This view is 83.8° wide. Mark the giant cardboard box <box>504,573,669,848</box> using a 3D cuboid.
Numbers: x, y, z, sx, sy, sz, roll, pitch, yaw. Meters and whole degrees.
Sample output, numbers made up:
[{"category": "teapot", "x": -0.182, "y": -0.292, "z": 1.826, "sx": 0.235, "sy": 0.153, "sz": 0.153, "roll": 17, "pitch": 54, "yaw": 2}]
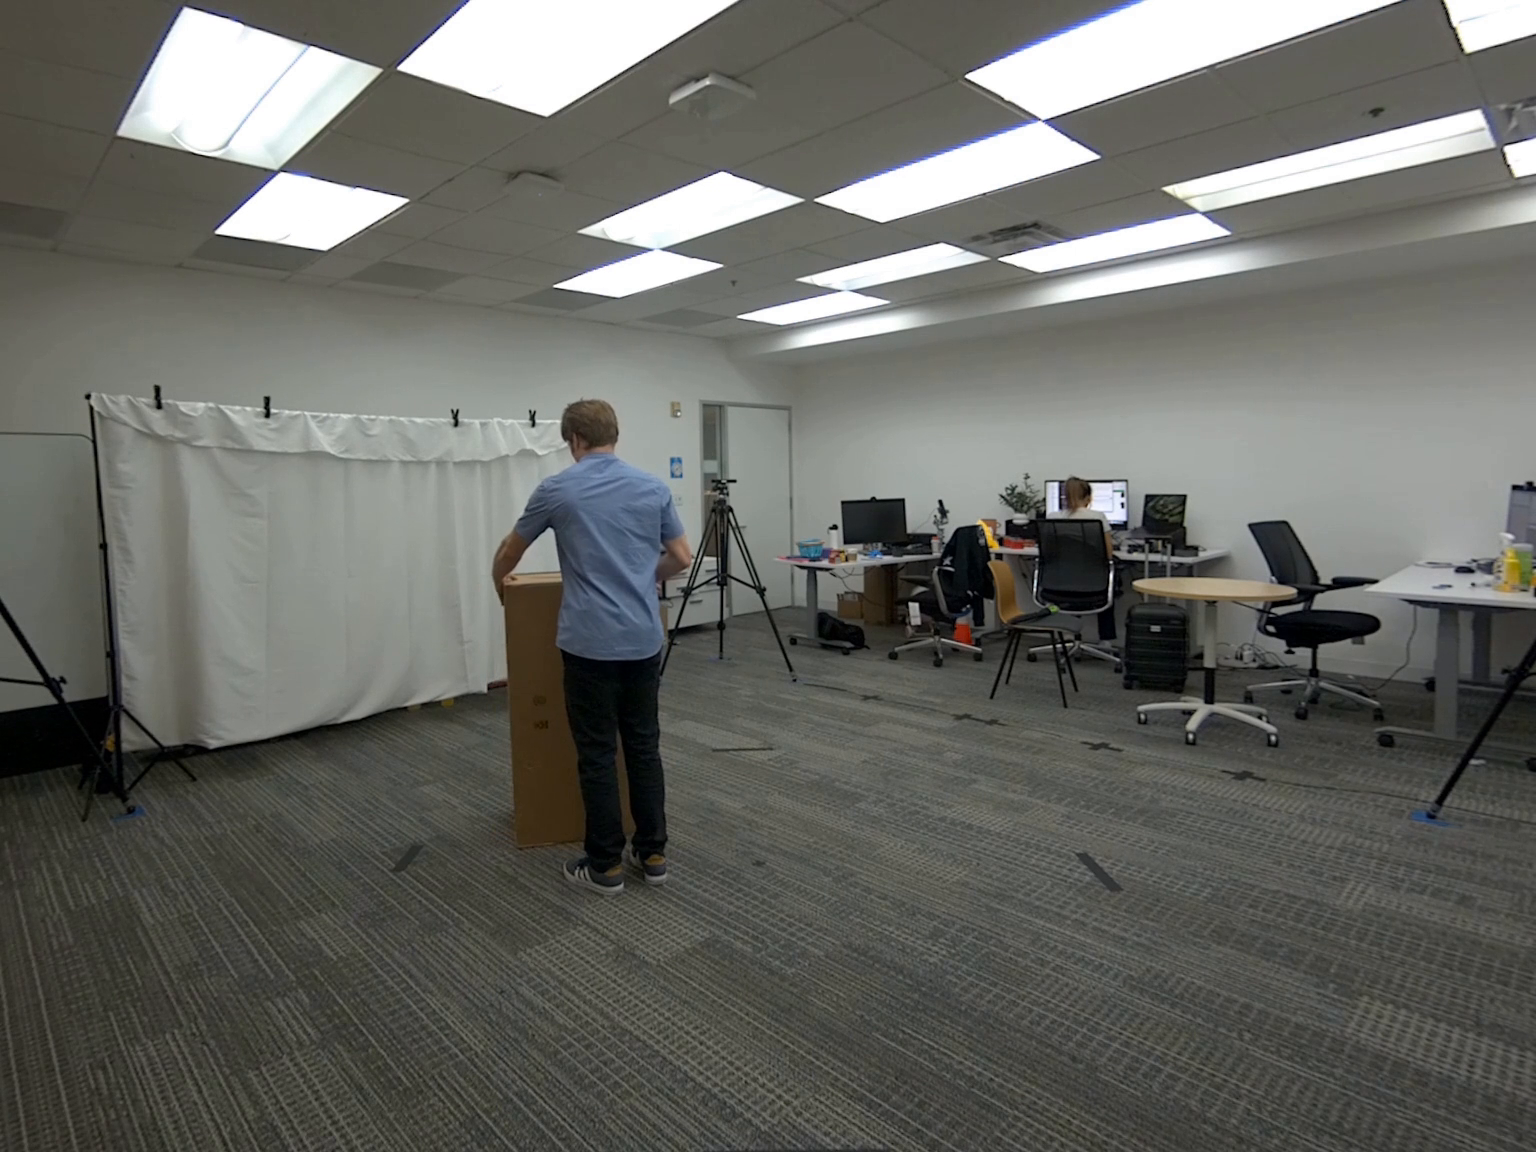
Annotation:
[{"category": "giant cardboard box", "x": -0.781, "y": 0.509, "z": 3.524, "sx": 0.570, "sy": 1.022, "sz": 0.433, "roll": -3, "pitch": 4, "yaw": -15}]
